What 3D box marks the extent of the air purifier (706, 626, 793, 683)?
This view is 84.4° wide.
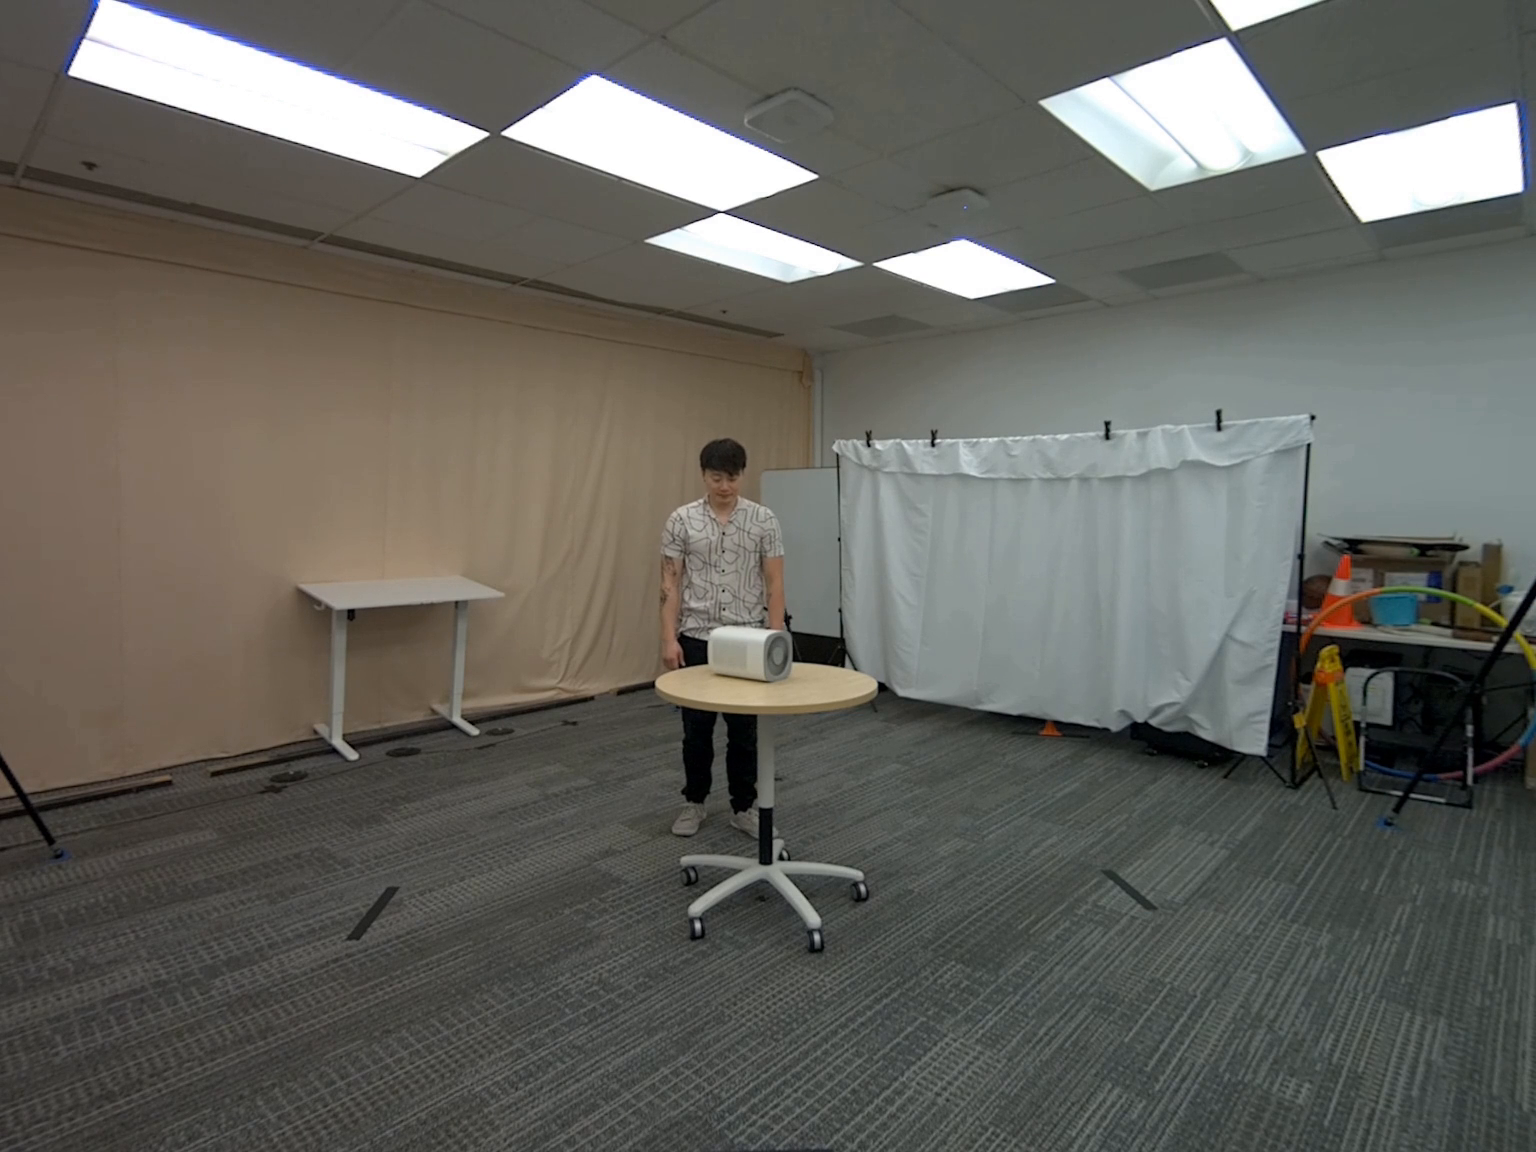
[{"bbox_3d":[-0.073,0.268,3.002,0.274,0.171,0.166,3,5,36],"label":"air purifier"}]
